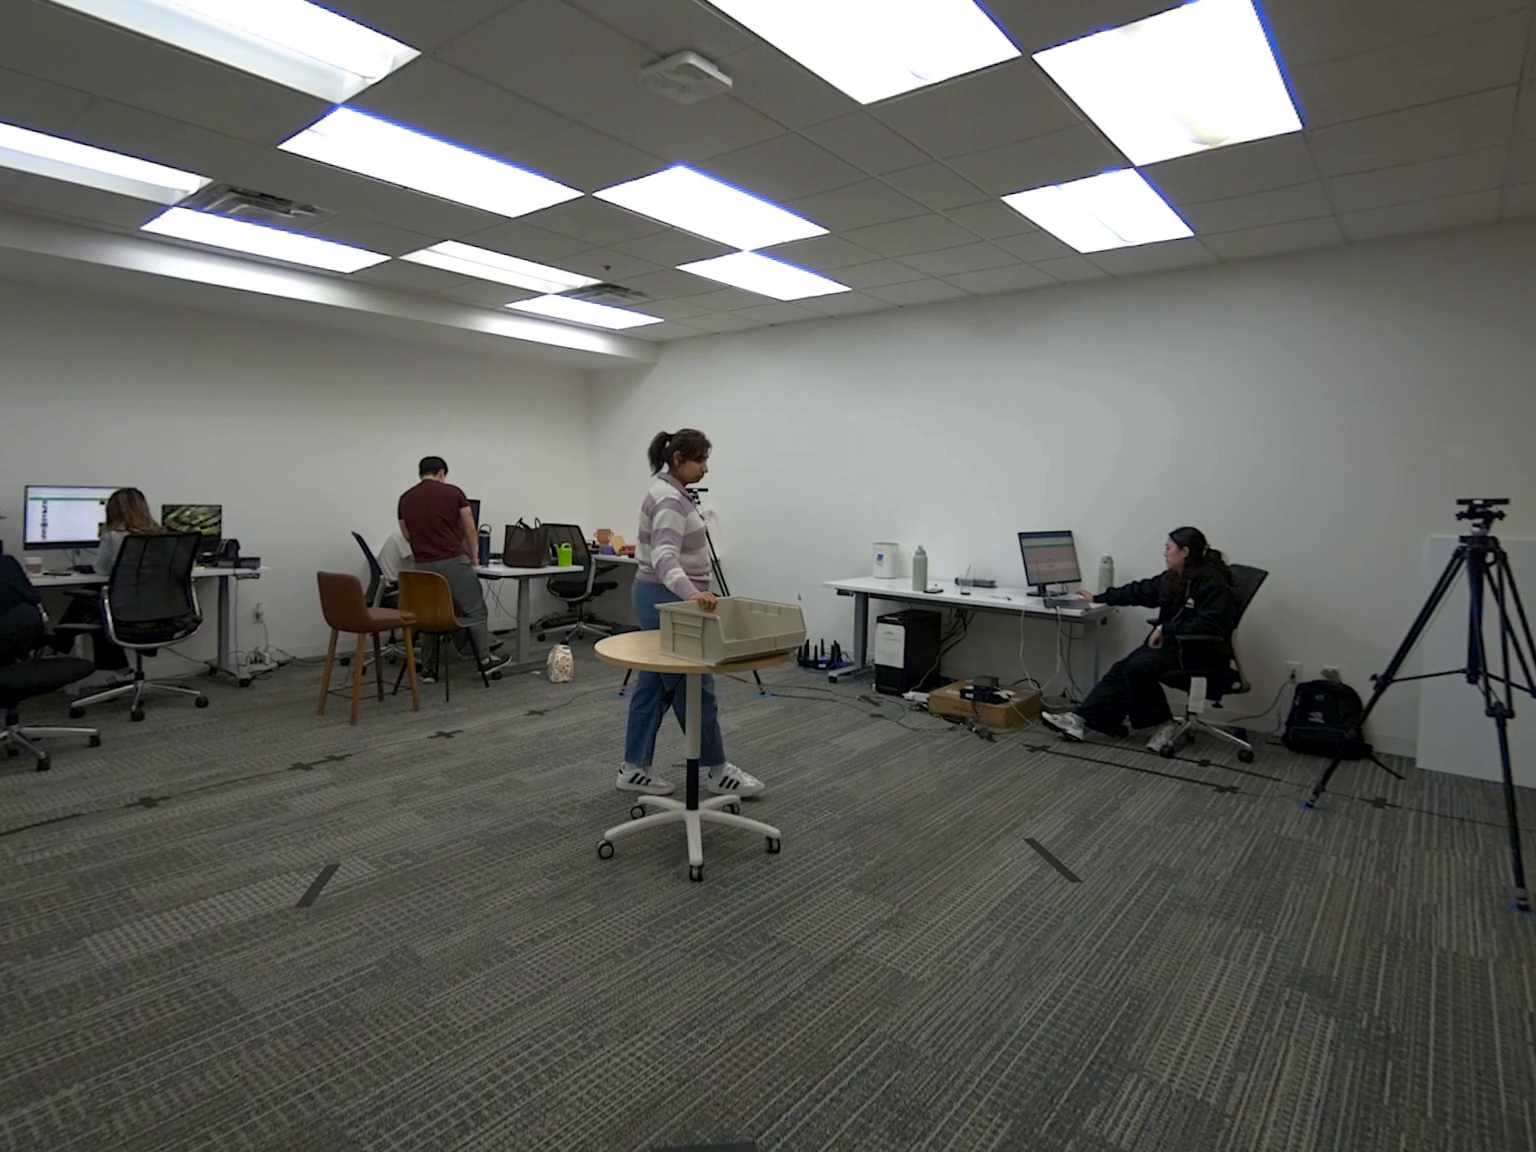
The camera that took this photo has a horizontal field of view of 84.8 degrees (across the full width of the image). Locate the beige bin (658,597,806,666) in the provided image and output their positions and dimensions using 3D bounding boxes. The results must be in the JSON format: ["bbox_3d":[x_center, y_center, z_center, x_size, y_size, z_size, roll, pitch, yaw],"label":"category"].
[{"bbox_3d":[-0.148,0.197,3.130,0.410,0.188,0.390,-5,7,-44],"label":"beige bin"}]
